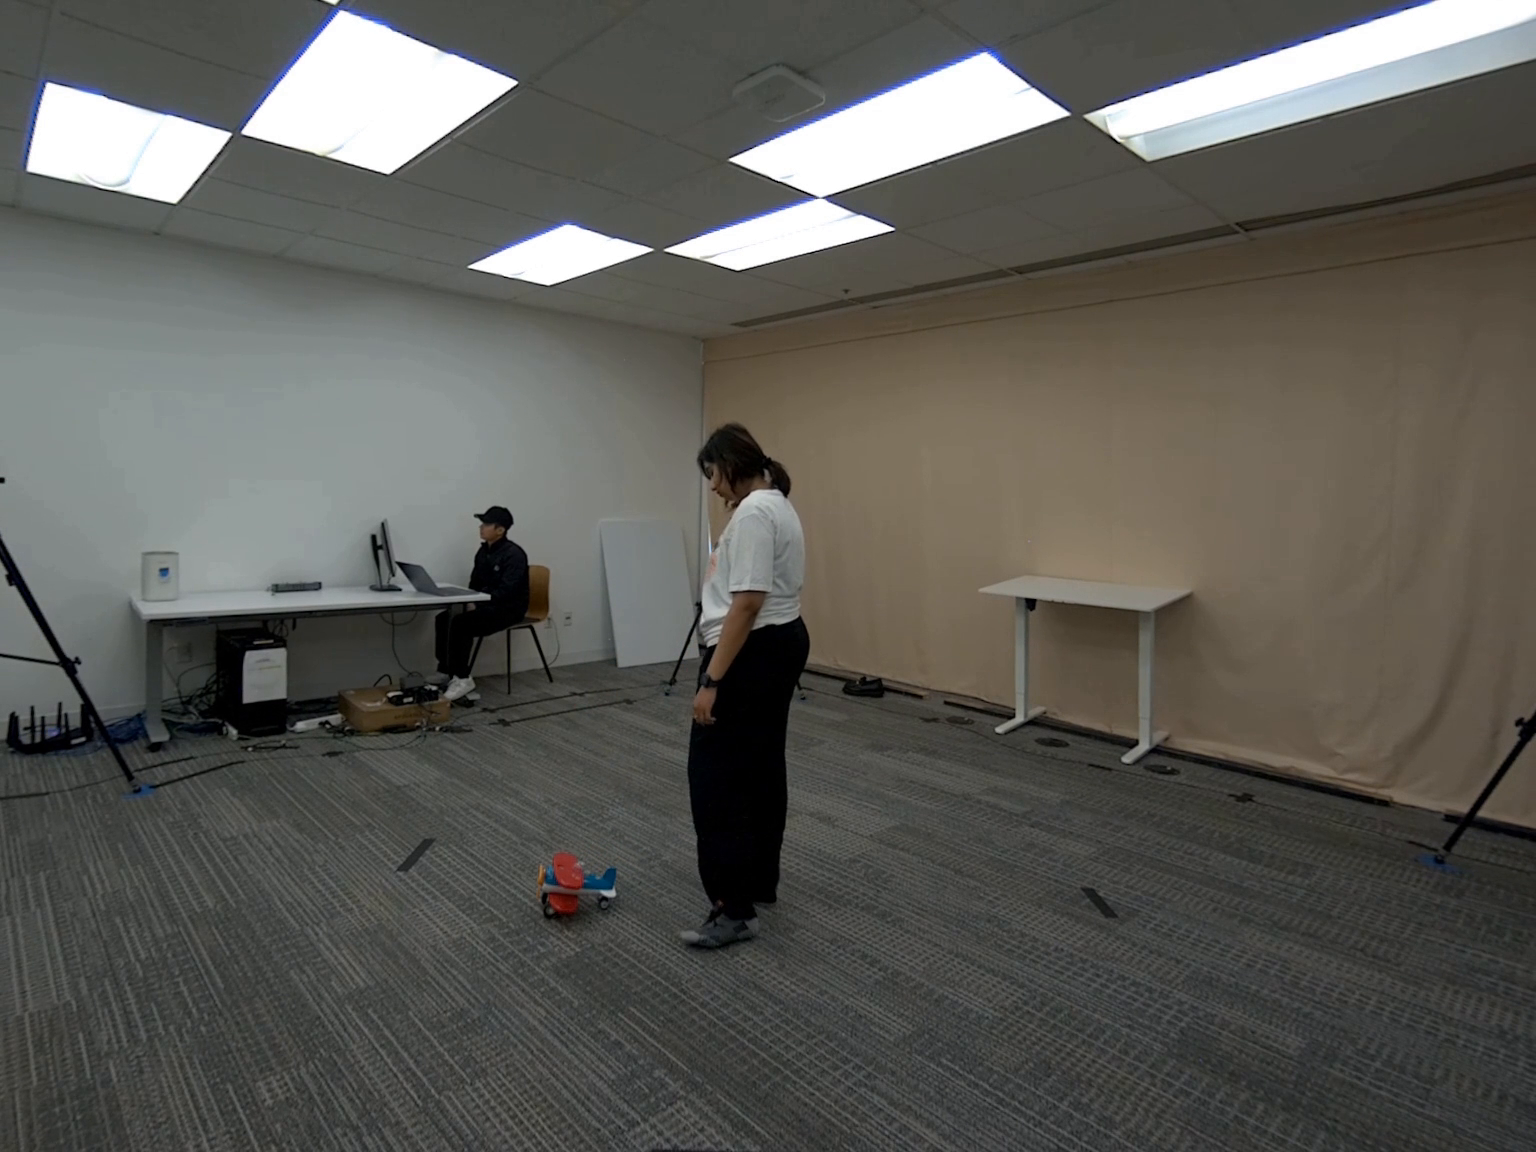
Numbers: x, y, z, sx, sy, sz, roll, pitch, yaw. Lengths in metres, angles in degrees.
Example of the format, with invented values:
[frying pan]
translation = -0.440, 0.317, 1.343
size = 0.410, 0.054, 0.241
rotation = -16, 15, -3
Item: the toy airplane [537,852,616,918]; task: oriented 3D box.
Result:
[toy airplane]
translation = -0.662, 1.047, 2.833
size = 0.253, 0.156, 0.257
rotation = -4, 7, -43
